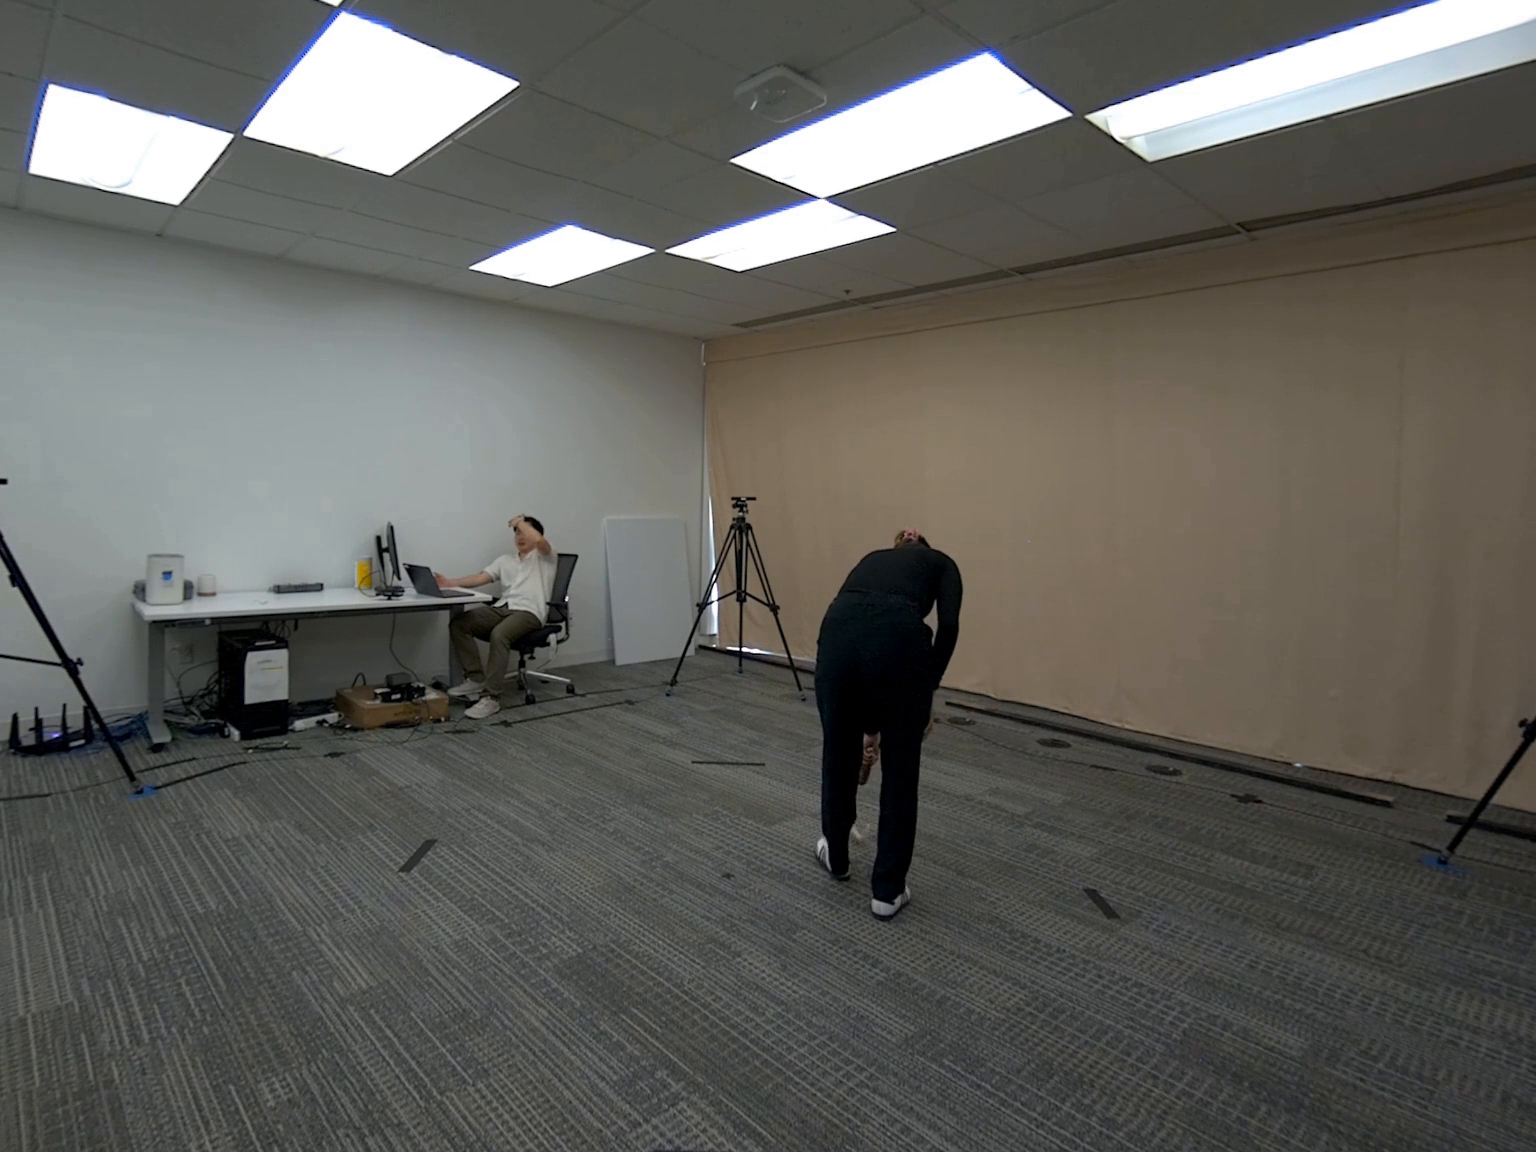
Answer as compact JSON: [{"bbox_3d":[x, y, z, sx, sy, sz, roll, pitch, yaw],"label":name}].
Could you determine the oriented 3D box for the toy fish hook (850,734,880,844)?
[{"bbox_3d":[0.359,0.875,3.316,0.048,0.497,0.231,-8,45,-19],"label":"toy fish hook"}]
